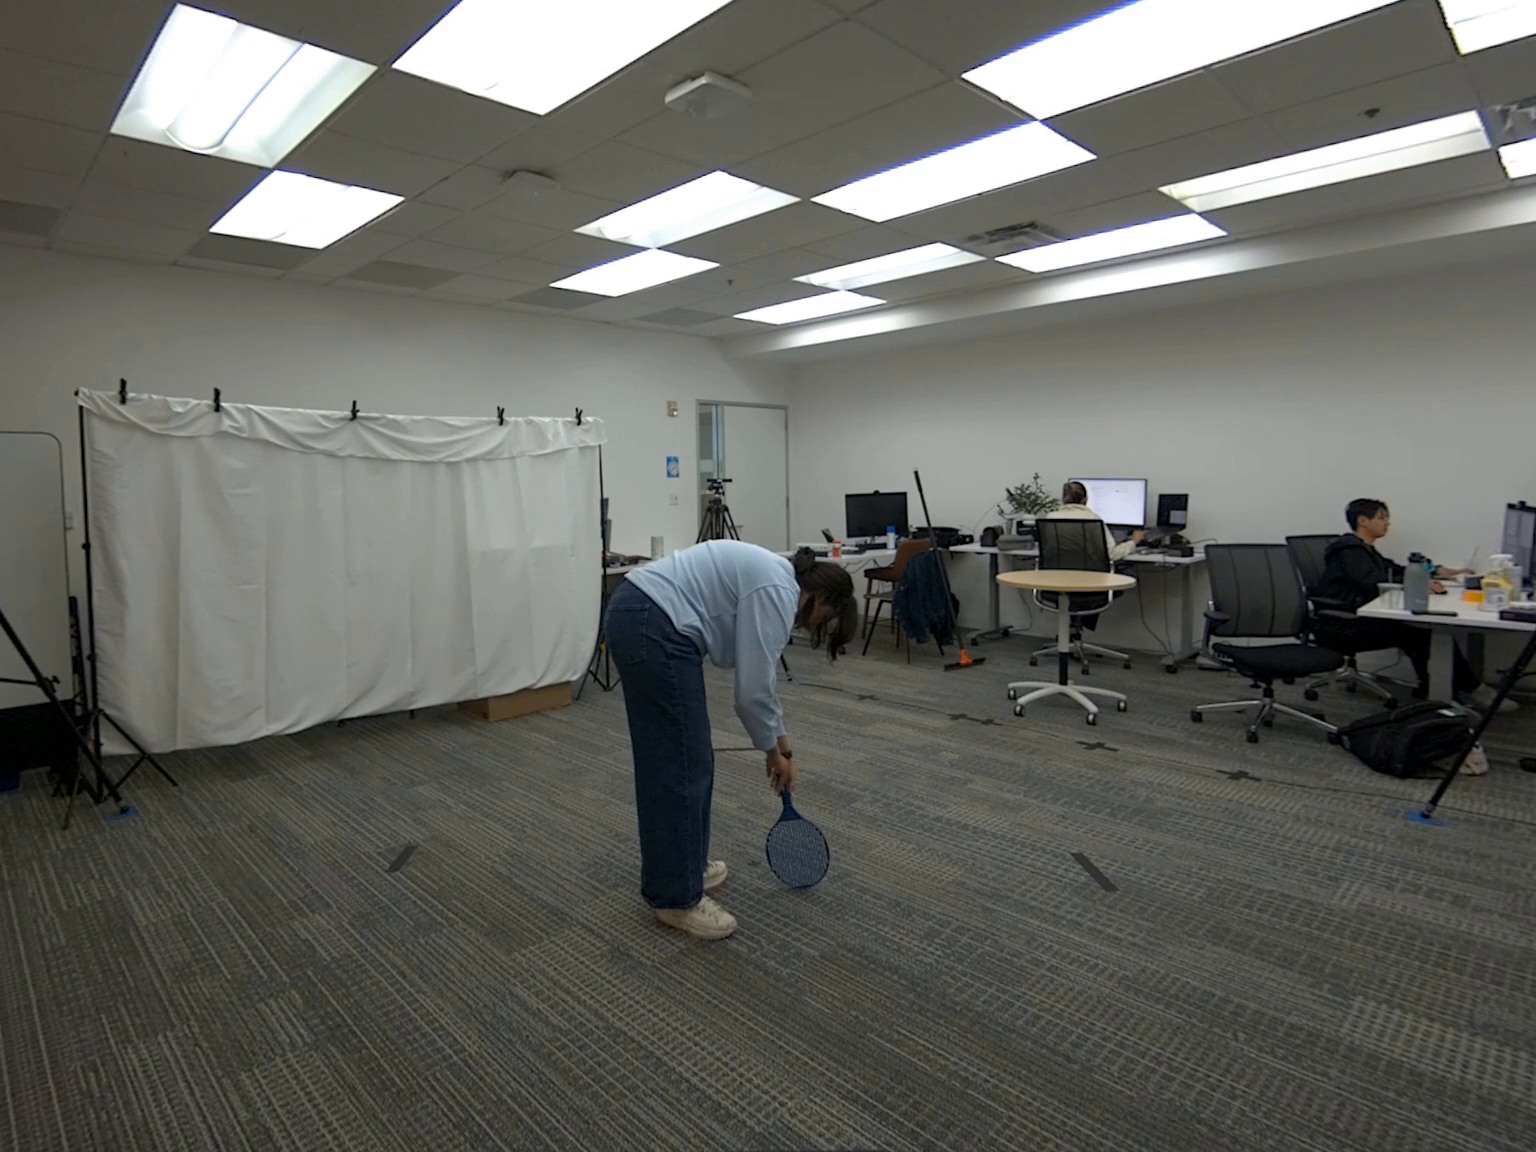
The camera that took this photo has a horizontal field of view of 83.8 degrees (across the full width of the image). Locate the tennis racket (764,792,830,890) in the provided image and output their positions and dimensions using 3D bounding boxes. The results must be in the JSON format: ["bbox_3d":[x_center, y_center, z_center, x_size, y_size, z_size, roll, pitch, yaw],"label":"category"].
[{"bbox_3d":[0.080,0.859,2.883,0.215,0.430,0.032,-11,5,8],"label":"tennis racket"}]
